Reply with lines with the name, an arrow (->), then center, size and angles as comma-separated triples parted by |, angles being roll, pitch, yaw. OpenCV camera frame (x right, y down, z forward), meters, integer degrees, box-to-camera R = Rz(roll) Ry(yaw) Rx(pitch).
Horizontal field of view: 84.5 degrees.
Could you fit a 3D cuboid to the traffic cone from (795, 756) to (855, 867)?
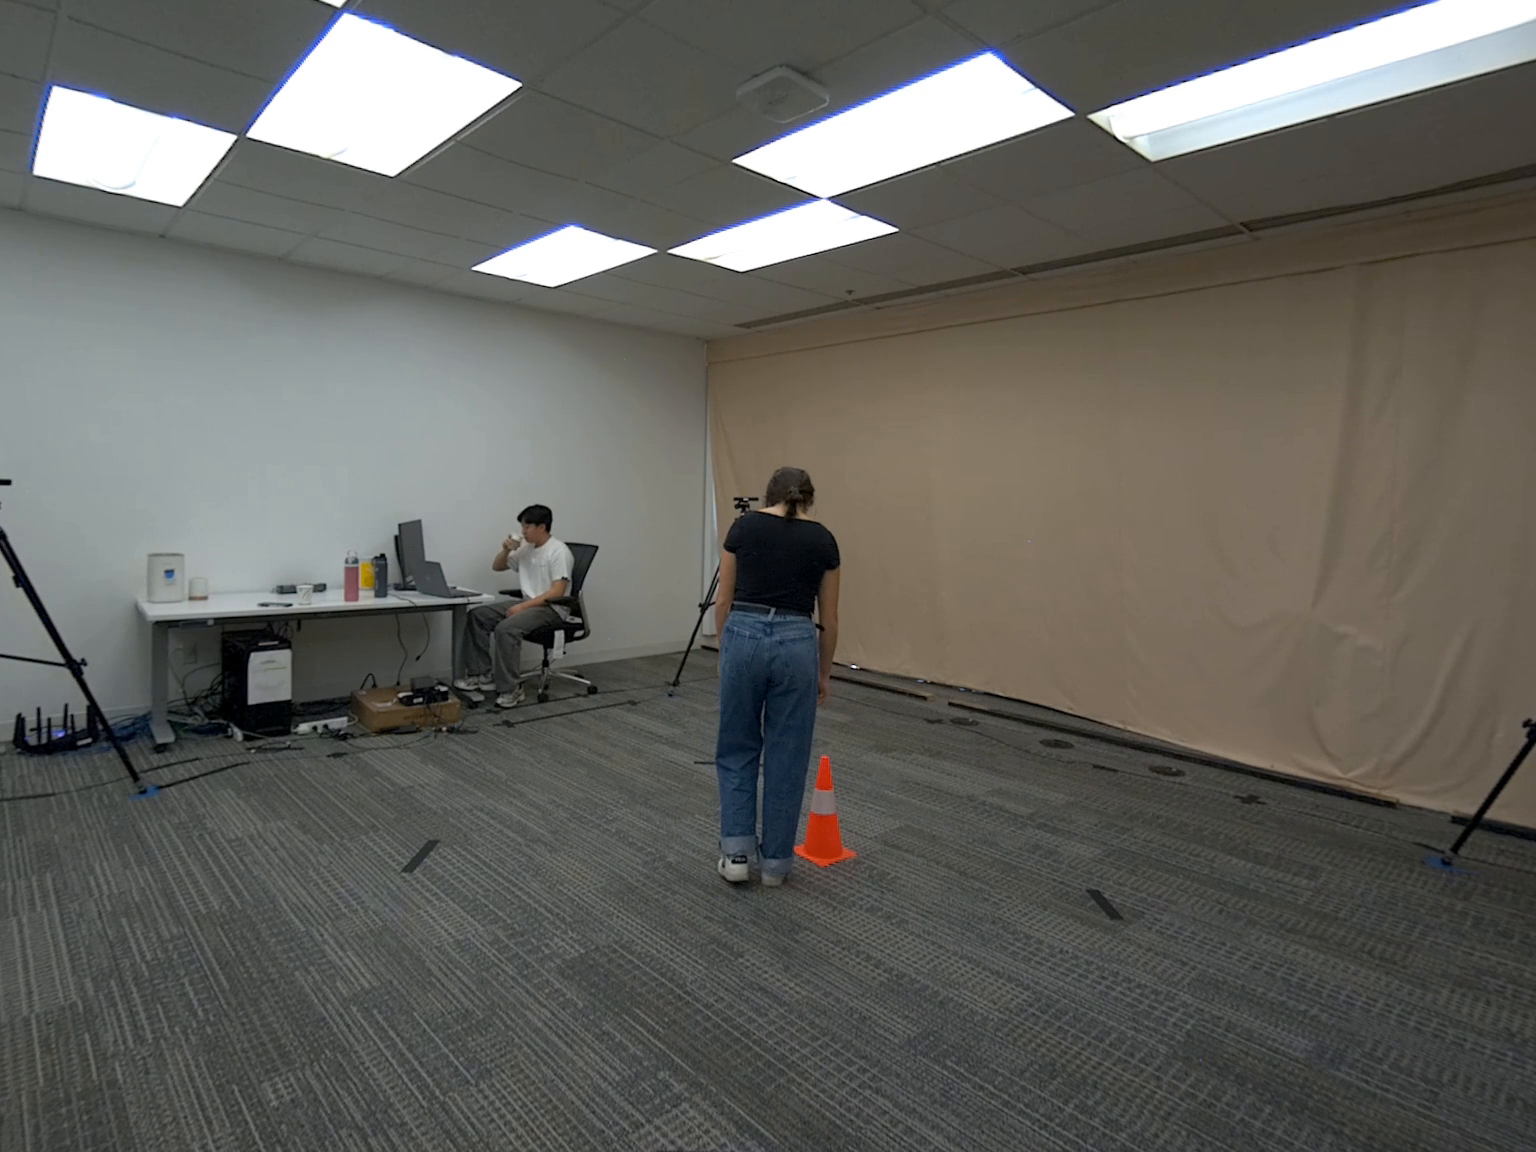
traffic cone -> 0.212, 0.910, 3.337 | 0.200, 0.383, 0.208 | 1, 2, -40
